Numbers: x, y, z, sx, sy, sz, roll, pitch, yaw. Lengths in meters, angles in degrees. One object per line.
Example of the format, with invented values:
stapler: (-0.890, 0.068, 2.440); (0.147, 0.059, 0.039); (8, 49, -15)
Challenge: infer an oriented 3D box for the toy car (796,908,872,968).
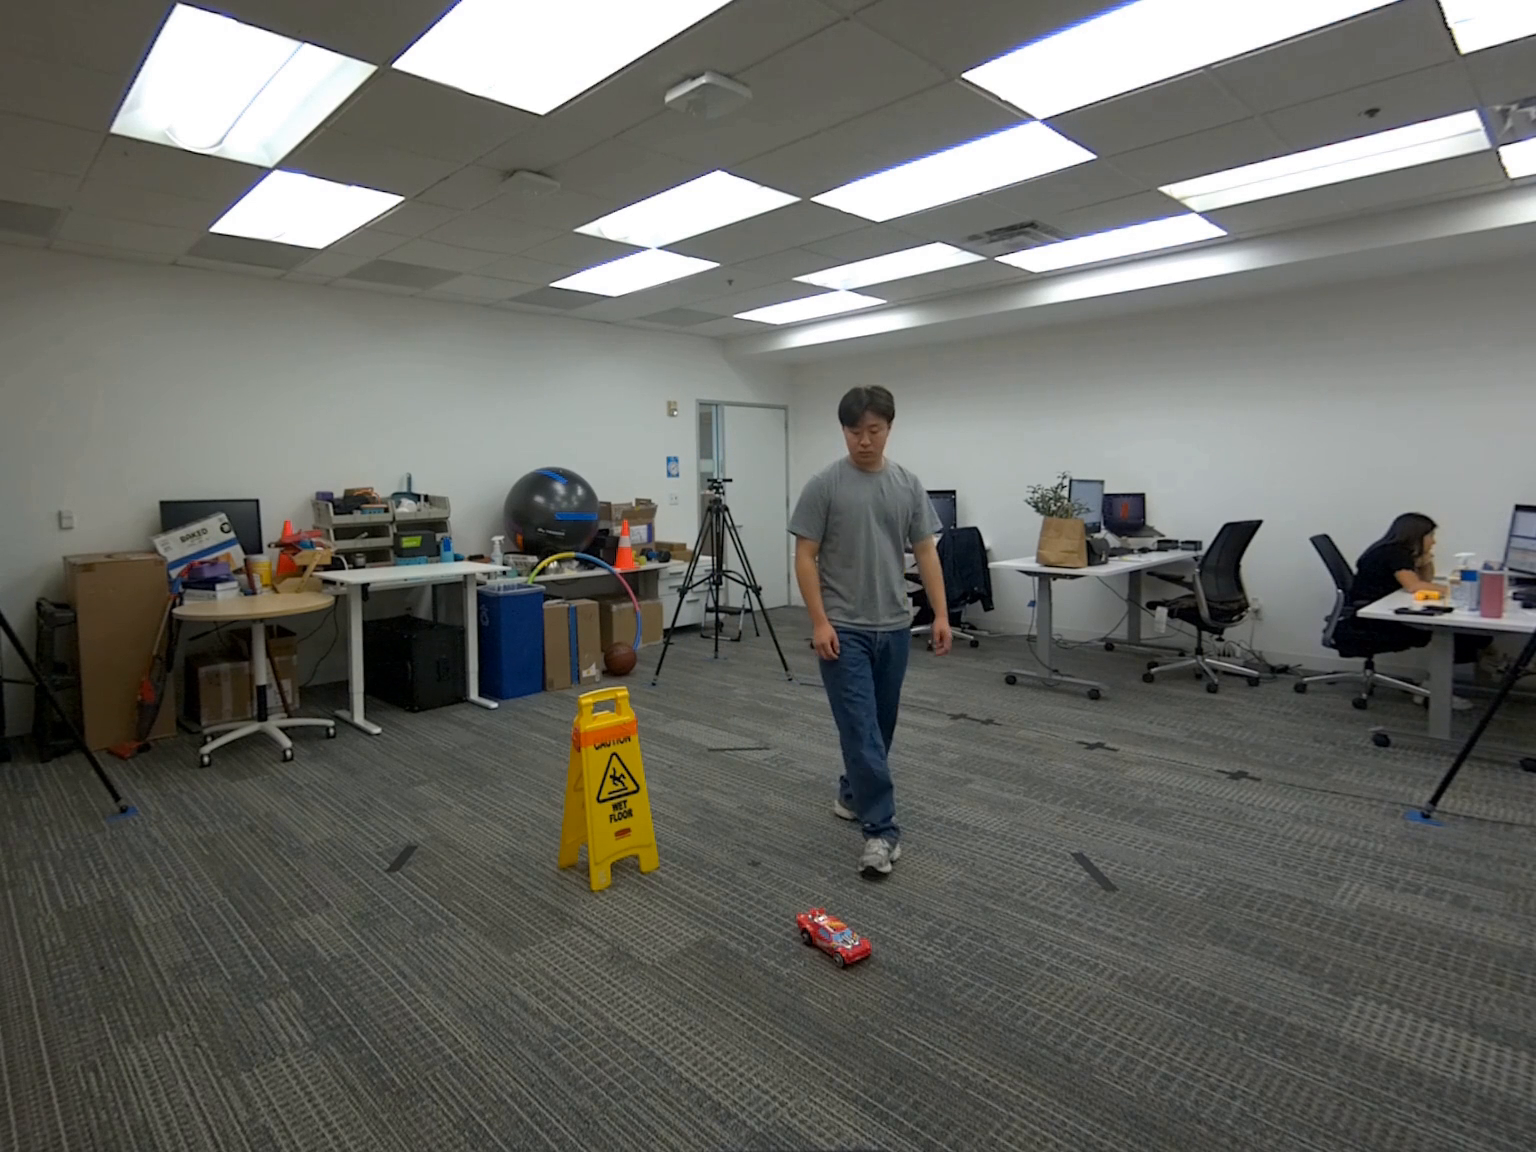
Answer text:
toy car: (0.195, 1.073, 2.543); (0.127, 0.082, 0.264); (-6, 19, -34)
